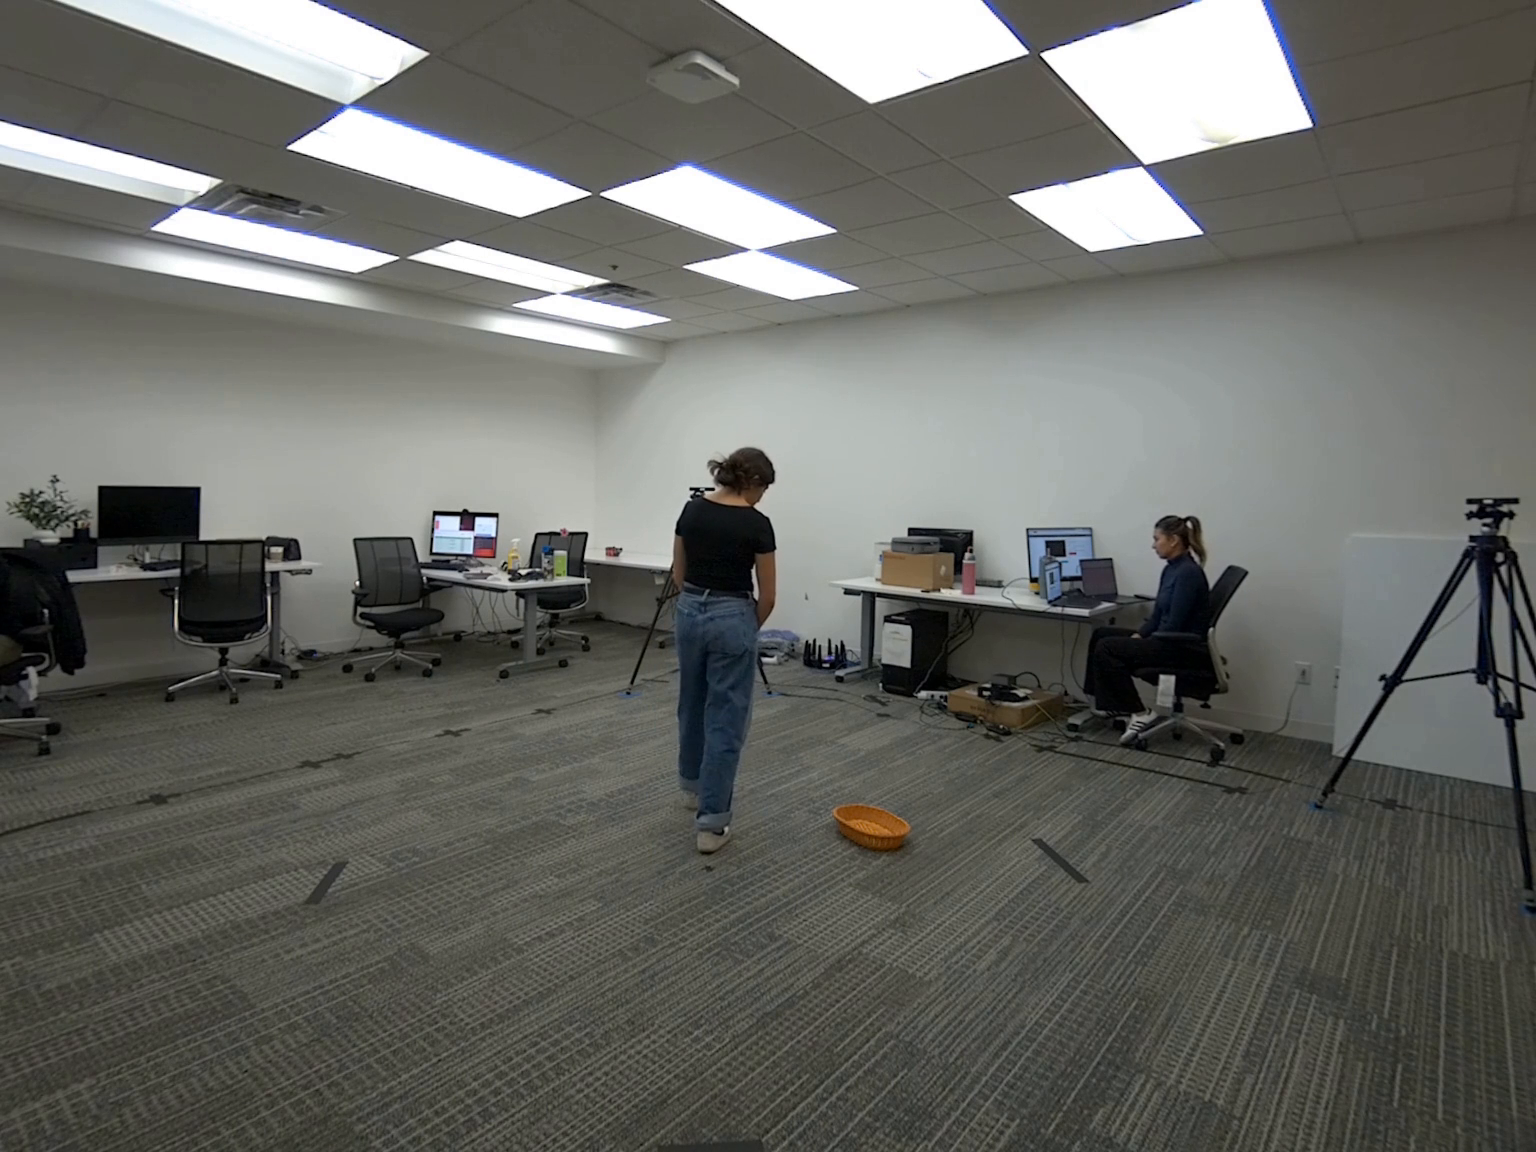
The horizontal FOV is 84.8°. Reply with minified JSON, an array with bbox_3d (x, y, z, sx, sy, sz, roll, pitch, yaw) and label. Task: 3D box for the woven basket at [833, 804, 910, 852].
[{"bbox_3d":[0.405,1.009,3.431,0.245,0.073,0.361,-1,6,-31],"label":"woven basket"}]
